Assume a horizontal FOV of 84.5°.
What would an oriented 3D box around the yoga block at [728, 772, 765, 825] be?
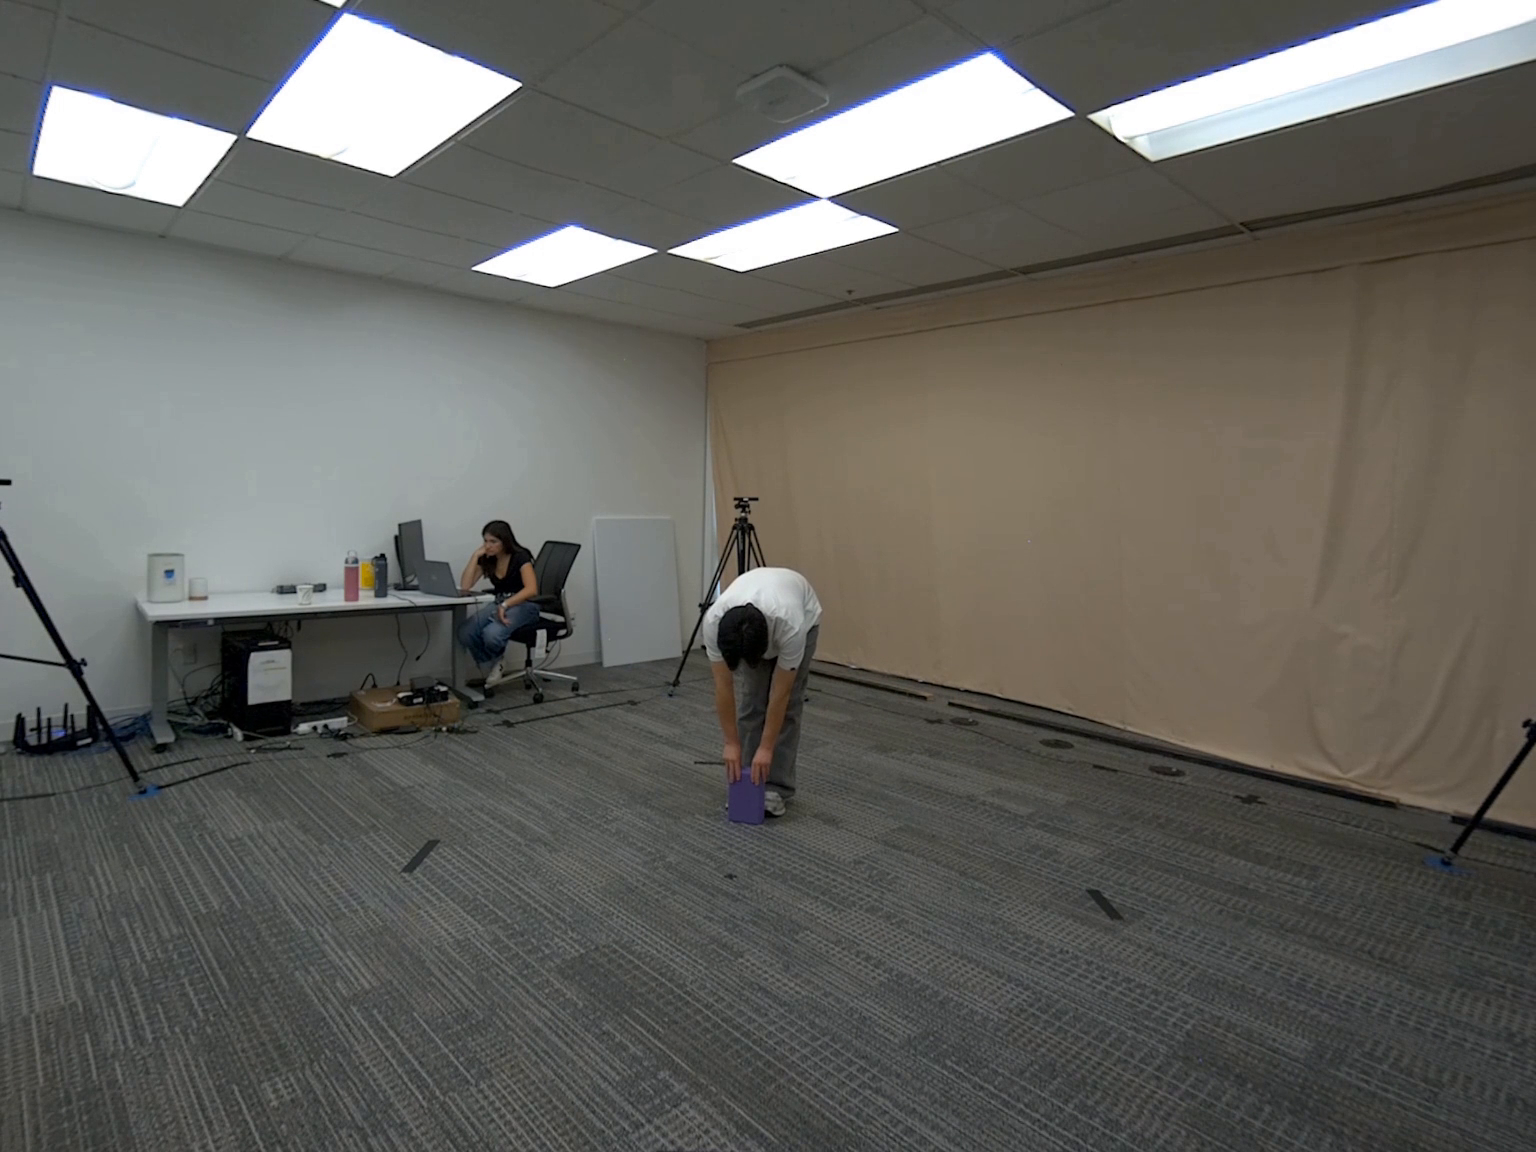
[{"bbox_3d":[-0.111,0.956,3.641,0.150,0.229,0.076,2,4,13],"label":"yoga block"}]
